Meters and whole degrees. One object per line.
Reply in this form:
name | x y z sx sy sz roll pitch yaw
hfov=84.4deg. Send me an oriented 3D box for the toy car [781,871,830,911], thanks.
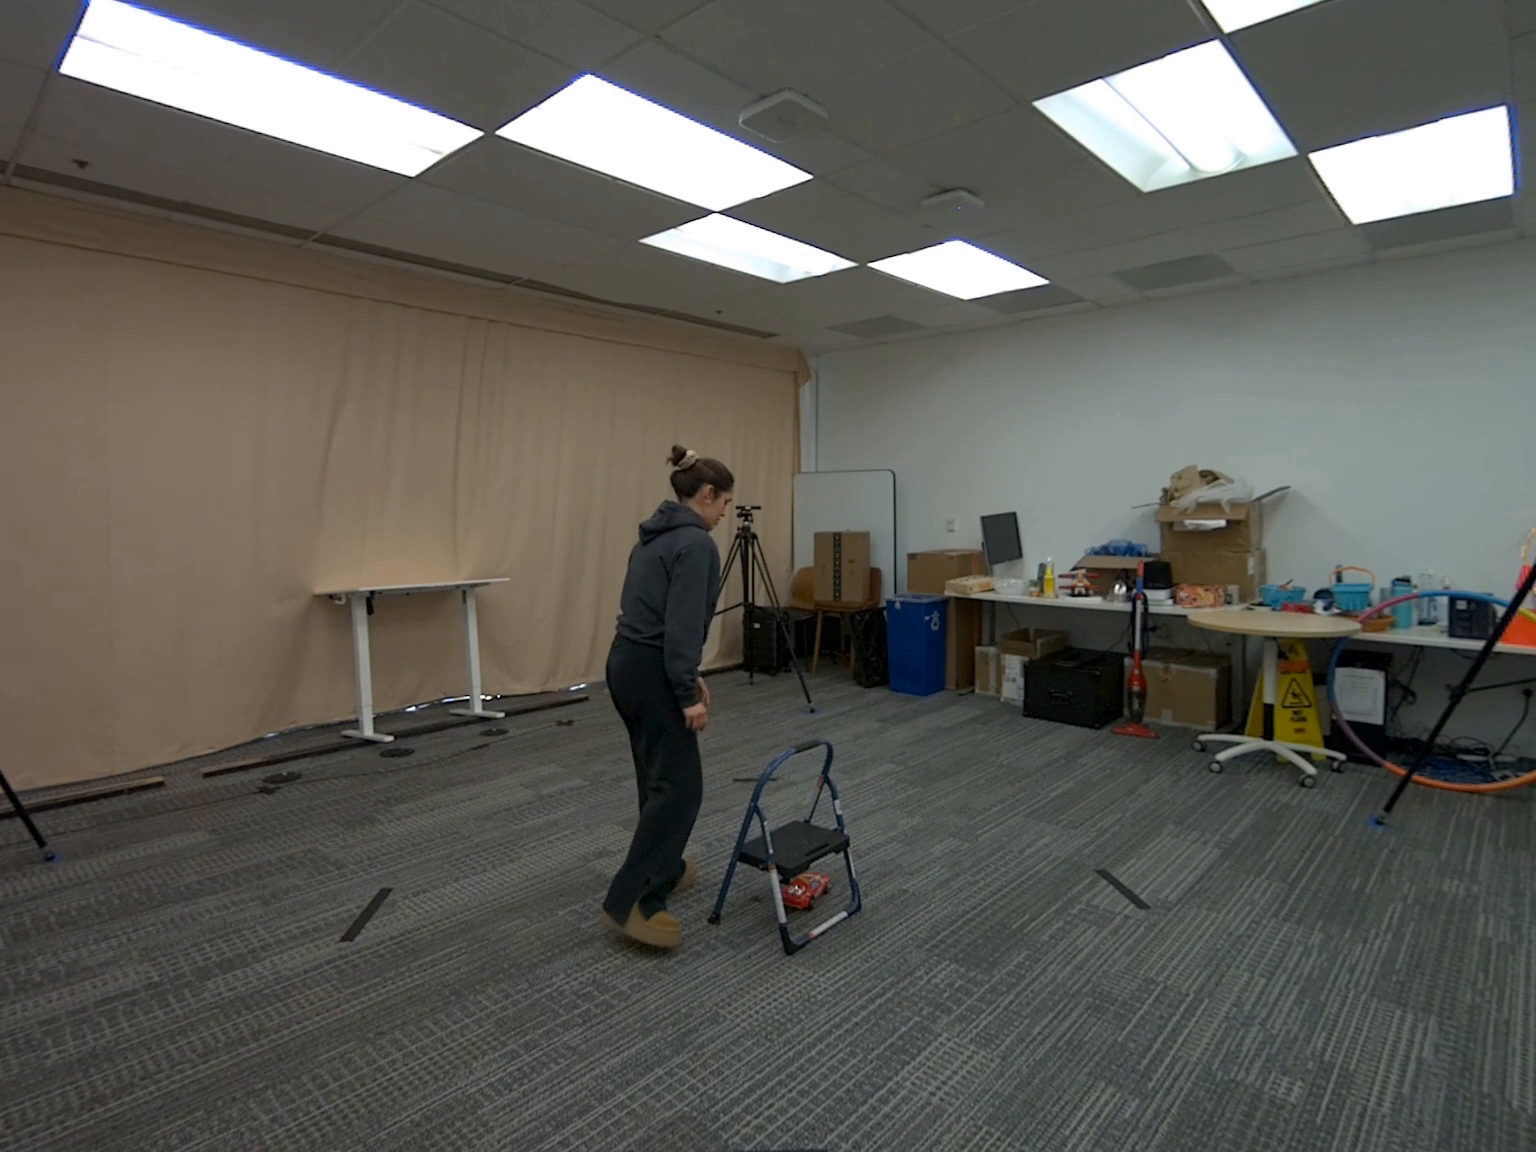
toy car | 0.151 1.114 2.961 0.134 0.083 0.246 3 -5 31
